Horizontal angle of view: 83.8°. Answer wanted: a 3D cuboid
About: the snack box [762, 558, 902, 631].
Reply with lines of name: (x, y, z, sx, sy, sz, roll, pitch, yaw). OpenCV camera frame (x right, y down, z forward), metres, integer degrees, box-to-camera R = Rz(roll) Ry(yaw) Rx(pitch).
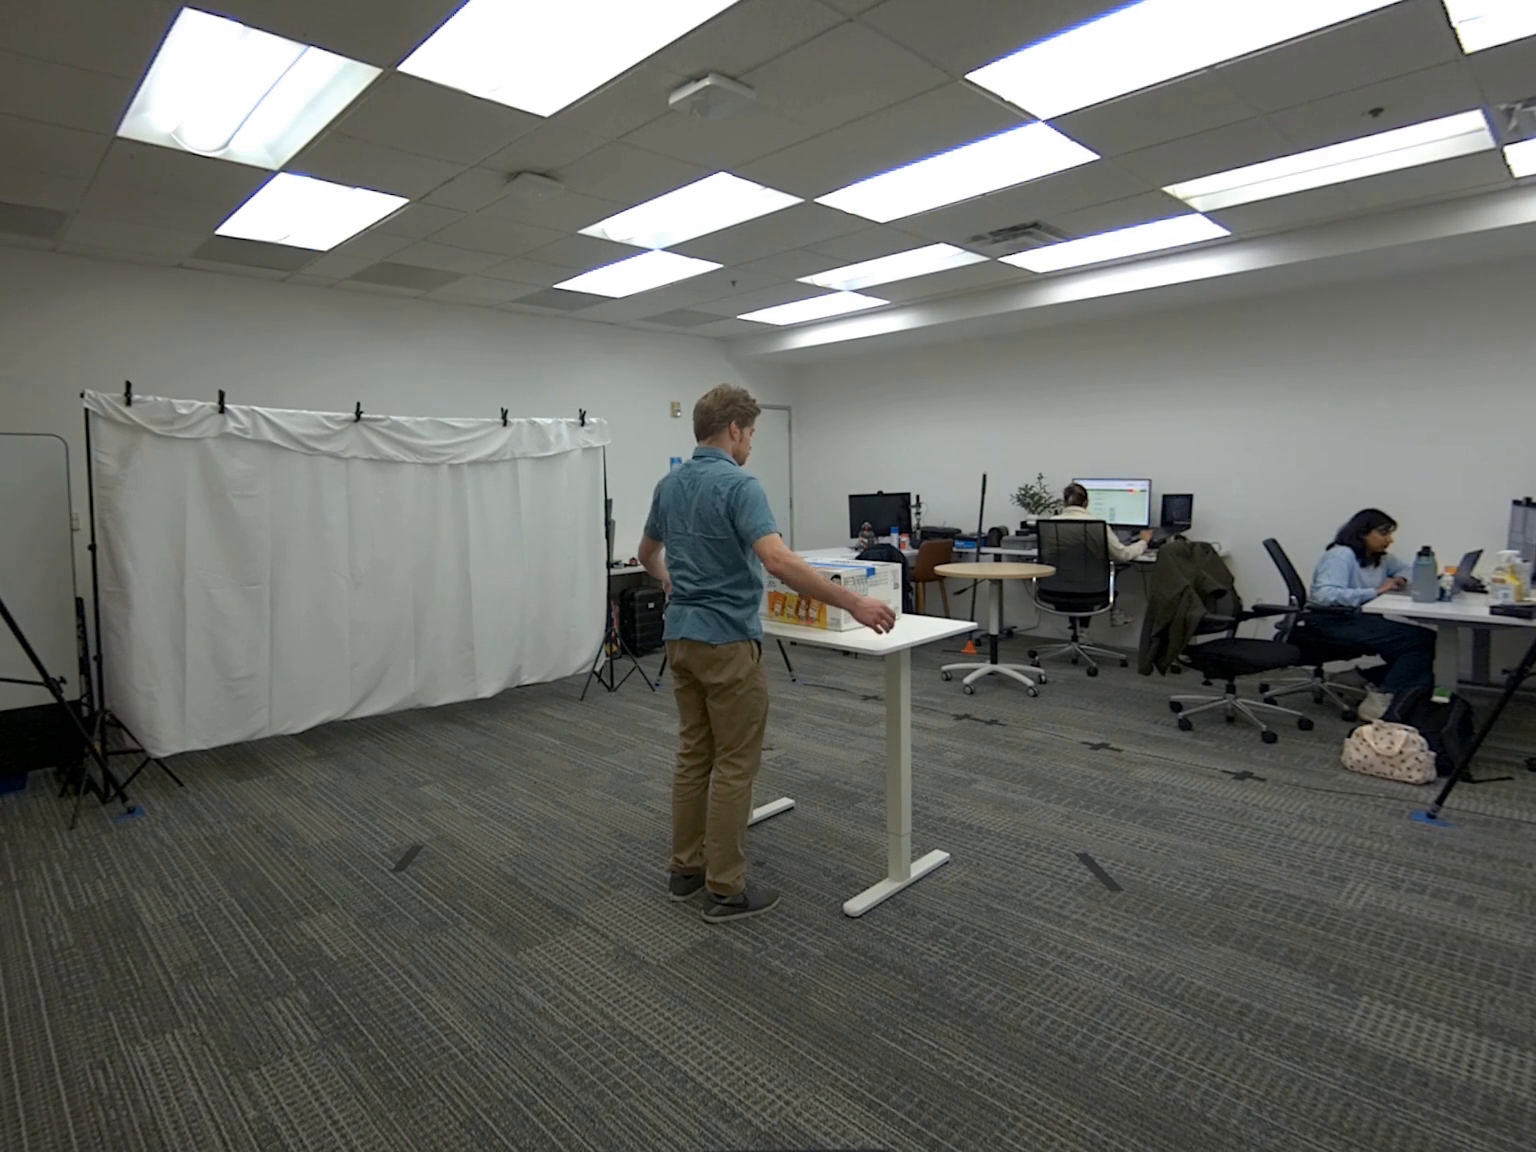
snack box: (0.221, 0.057, 3.116, 0.331, 0.205, 0.418, -8, 9, -44)
